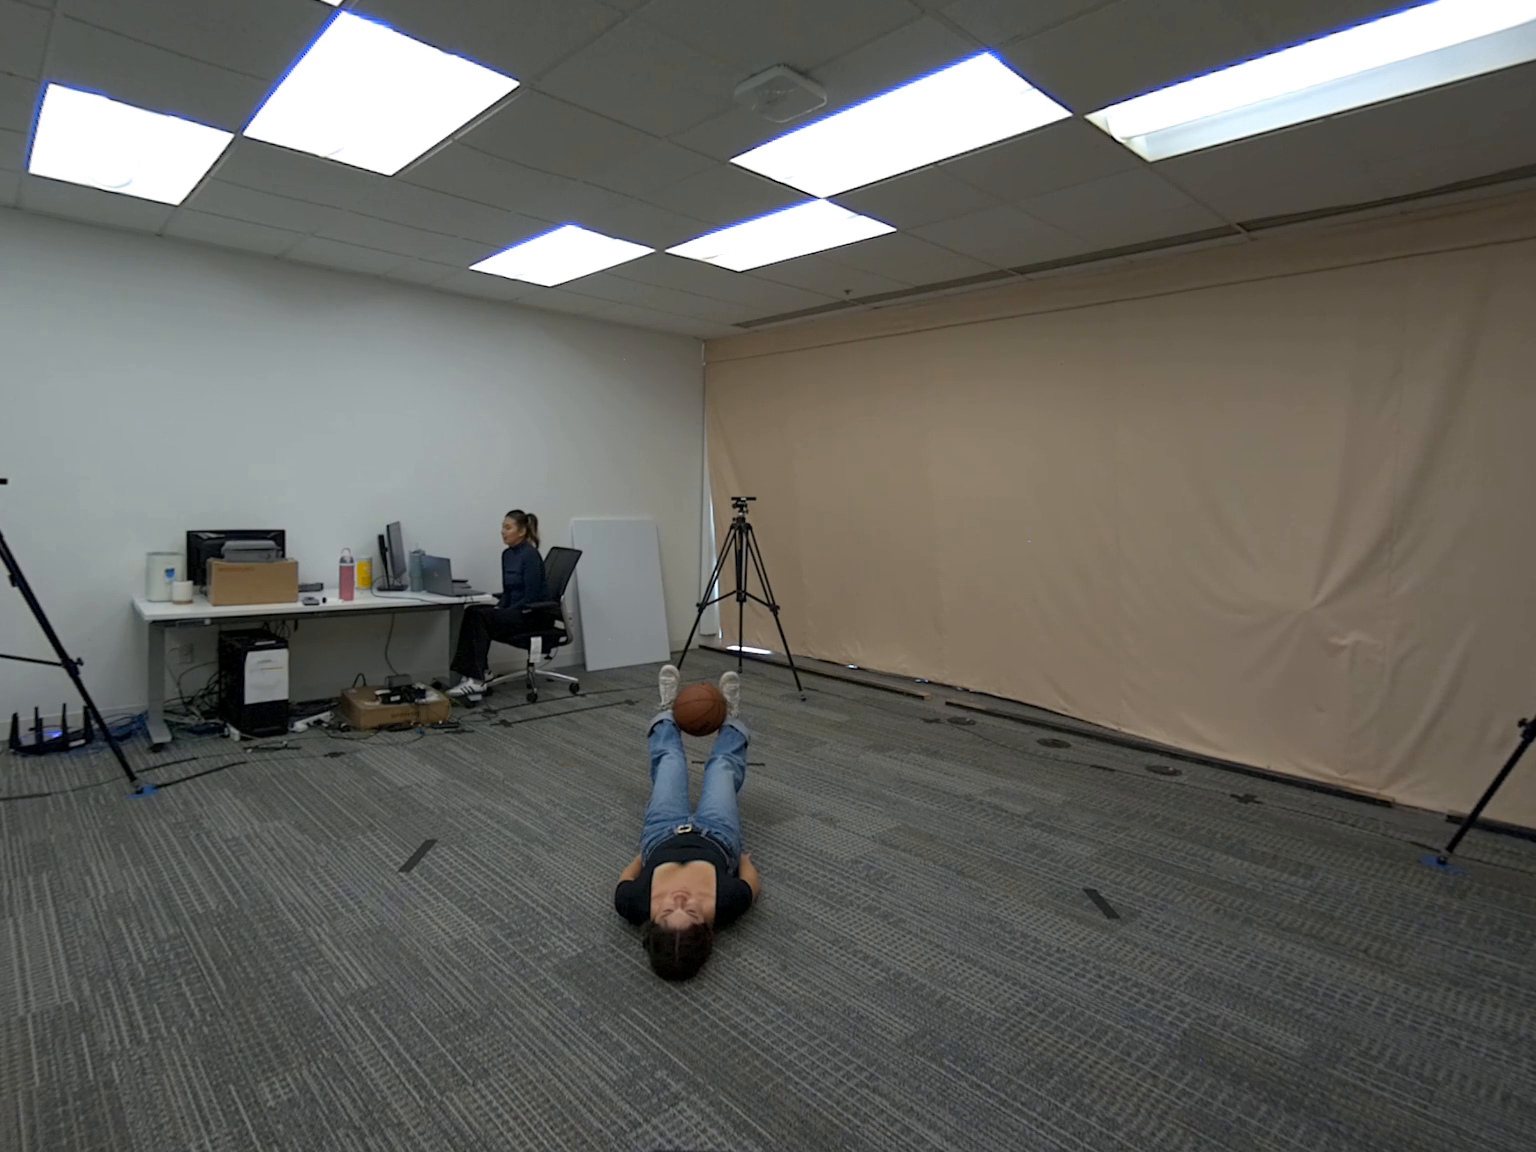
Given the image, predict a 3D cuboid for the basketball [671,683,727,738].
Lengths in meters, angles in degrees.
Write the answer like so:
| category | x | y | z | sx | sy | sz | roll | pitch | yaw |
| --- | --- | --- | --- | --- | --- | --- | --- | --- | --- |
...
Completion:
| category | x | y | z | sx | sy | sz | roll | pitch | yaw |
| --- | --- | --- | --- | --- | --- | --- | --- | --- | --- |
| basketball | -0.316 | 0.600 | 3.778 | 0.236 | 0.235 | 0.237 | 1 | 4 | -1 |
